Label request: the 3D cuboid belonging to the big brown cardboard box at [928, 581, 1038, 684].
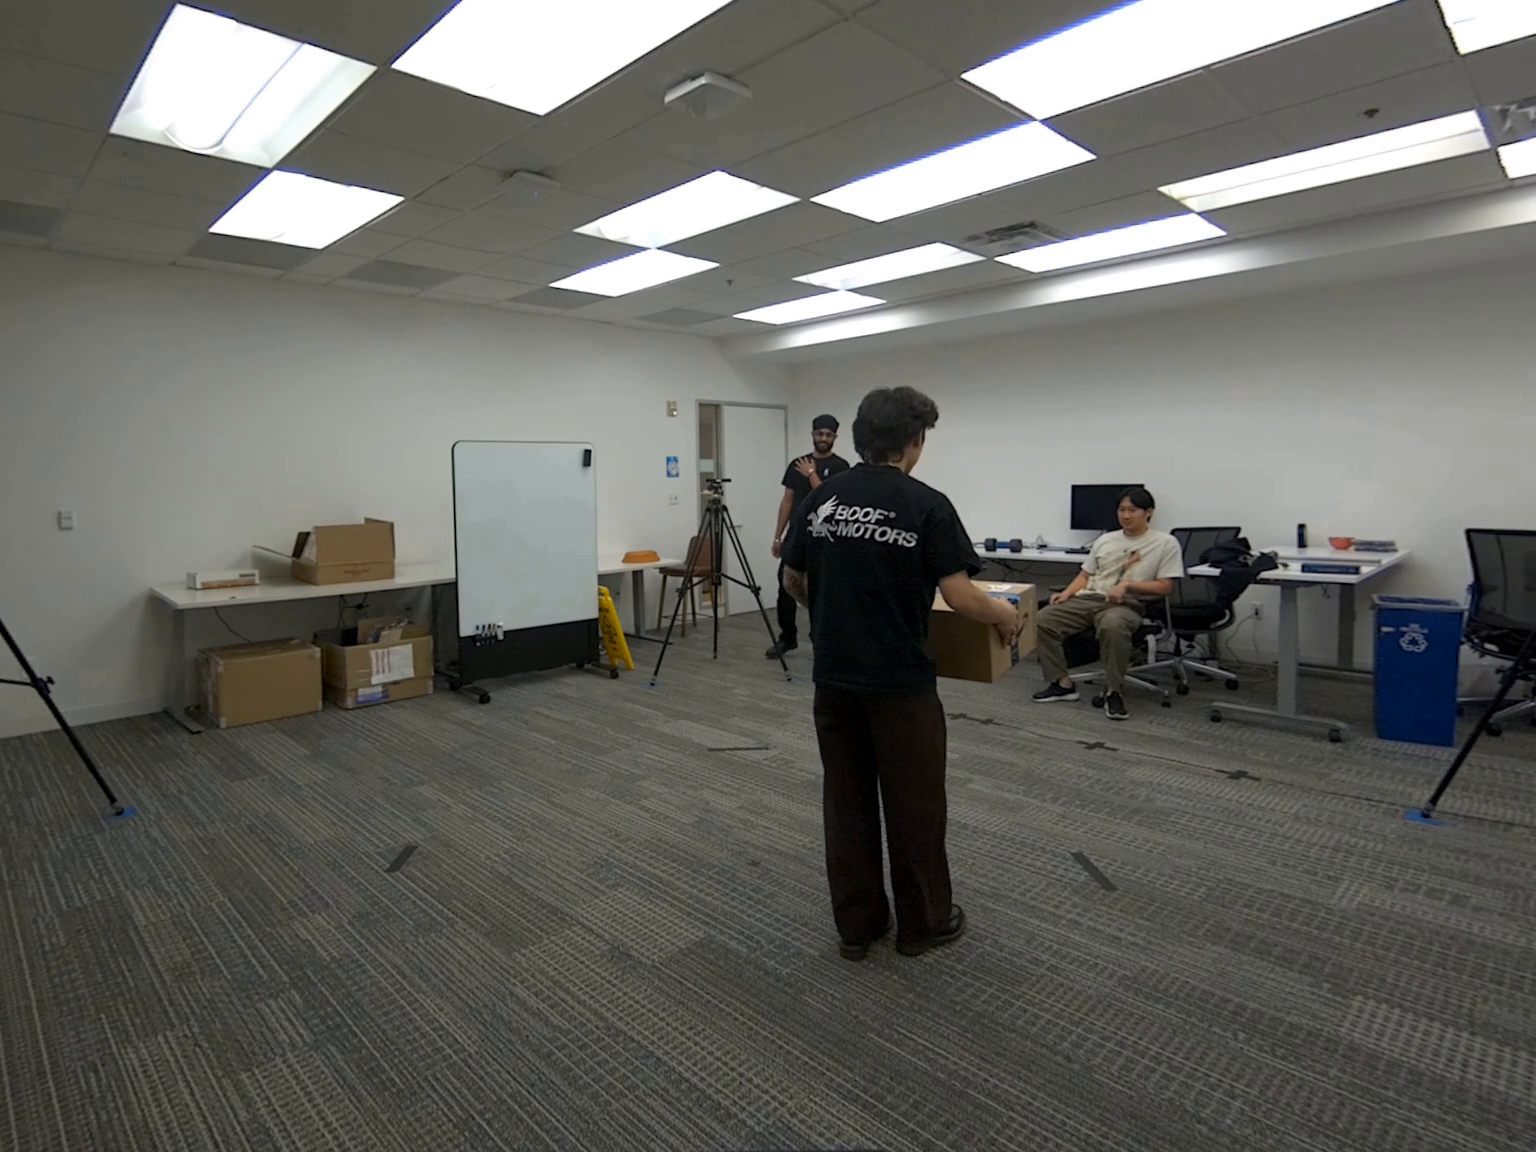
[{"bbox_3d":[0.540,0.153,2.812,0.606,0.231,0.409,2,12,36],"label":"big brown cardboard box"}]
